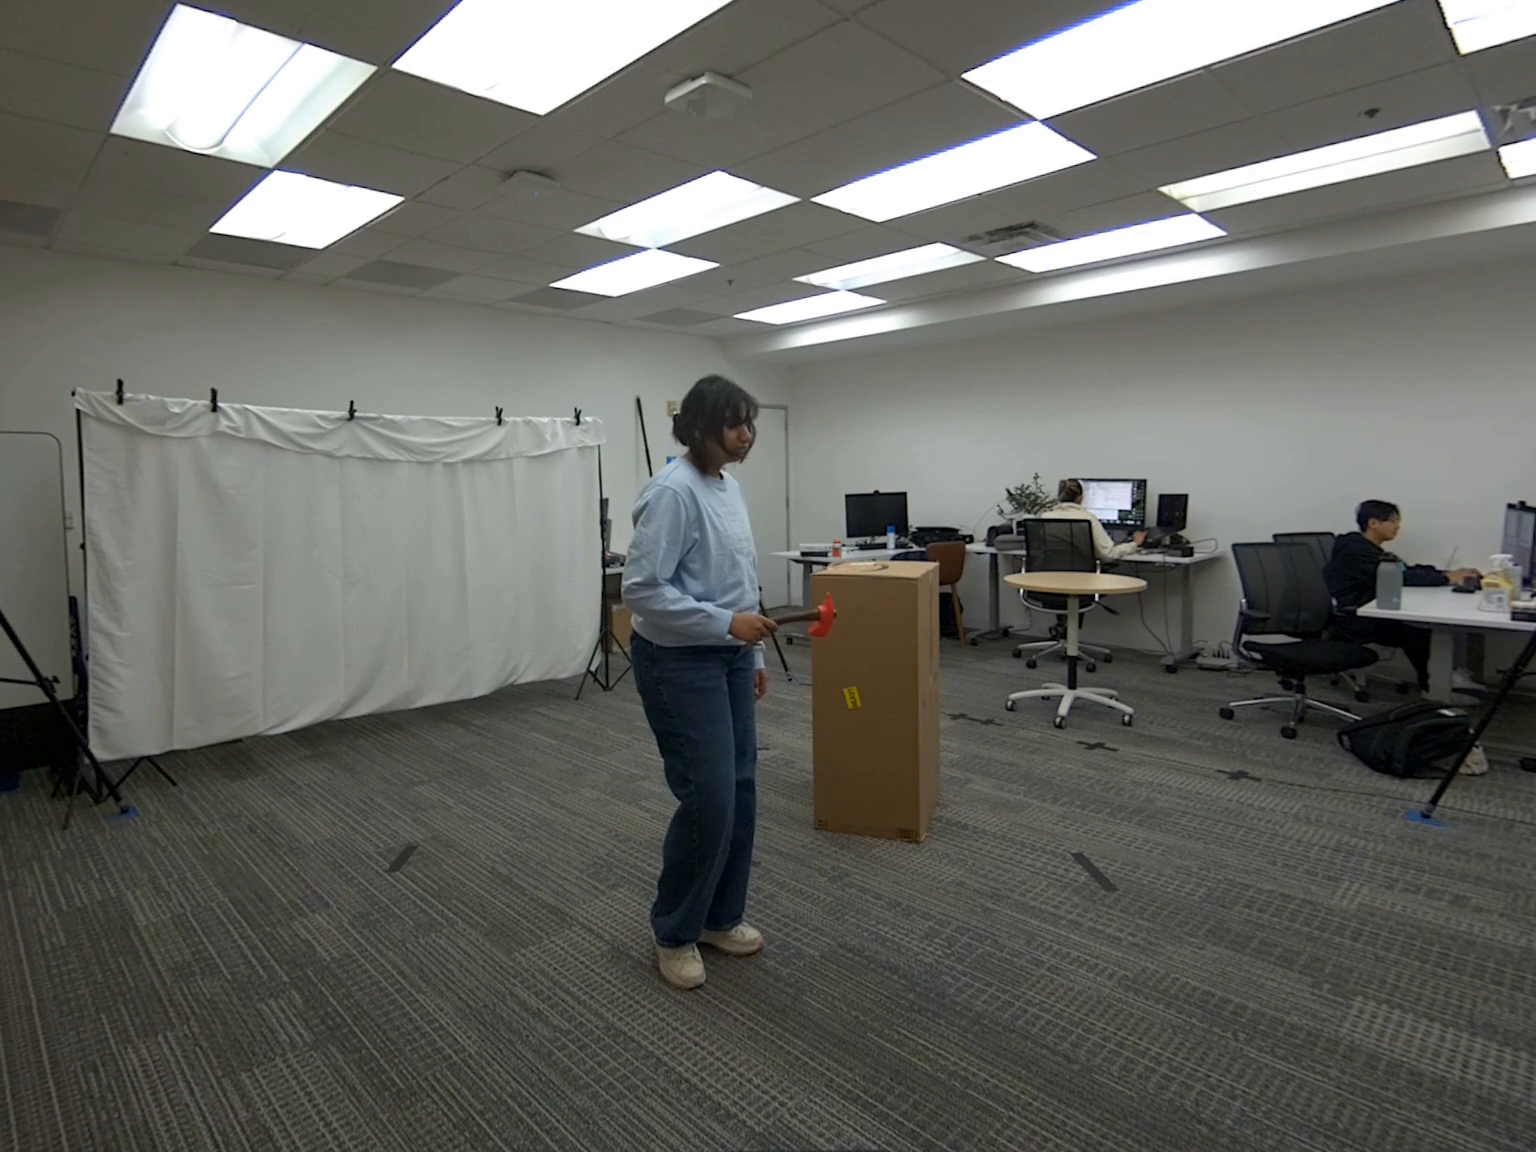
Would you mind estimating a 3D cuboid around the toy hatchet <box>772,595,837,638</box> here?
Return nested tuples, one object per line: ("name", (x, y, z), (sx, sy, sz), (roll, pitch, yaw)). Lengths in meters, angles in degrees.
("toy hatchet", (0.051, 0.155, 2.348), (0.270, 0.127, 0.030), (-19, 26, 1))
